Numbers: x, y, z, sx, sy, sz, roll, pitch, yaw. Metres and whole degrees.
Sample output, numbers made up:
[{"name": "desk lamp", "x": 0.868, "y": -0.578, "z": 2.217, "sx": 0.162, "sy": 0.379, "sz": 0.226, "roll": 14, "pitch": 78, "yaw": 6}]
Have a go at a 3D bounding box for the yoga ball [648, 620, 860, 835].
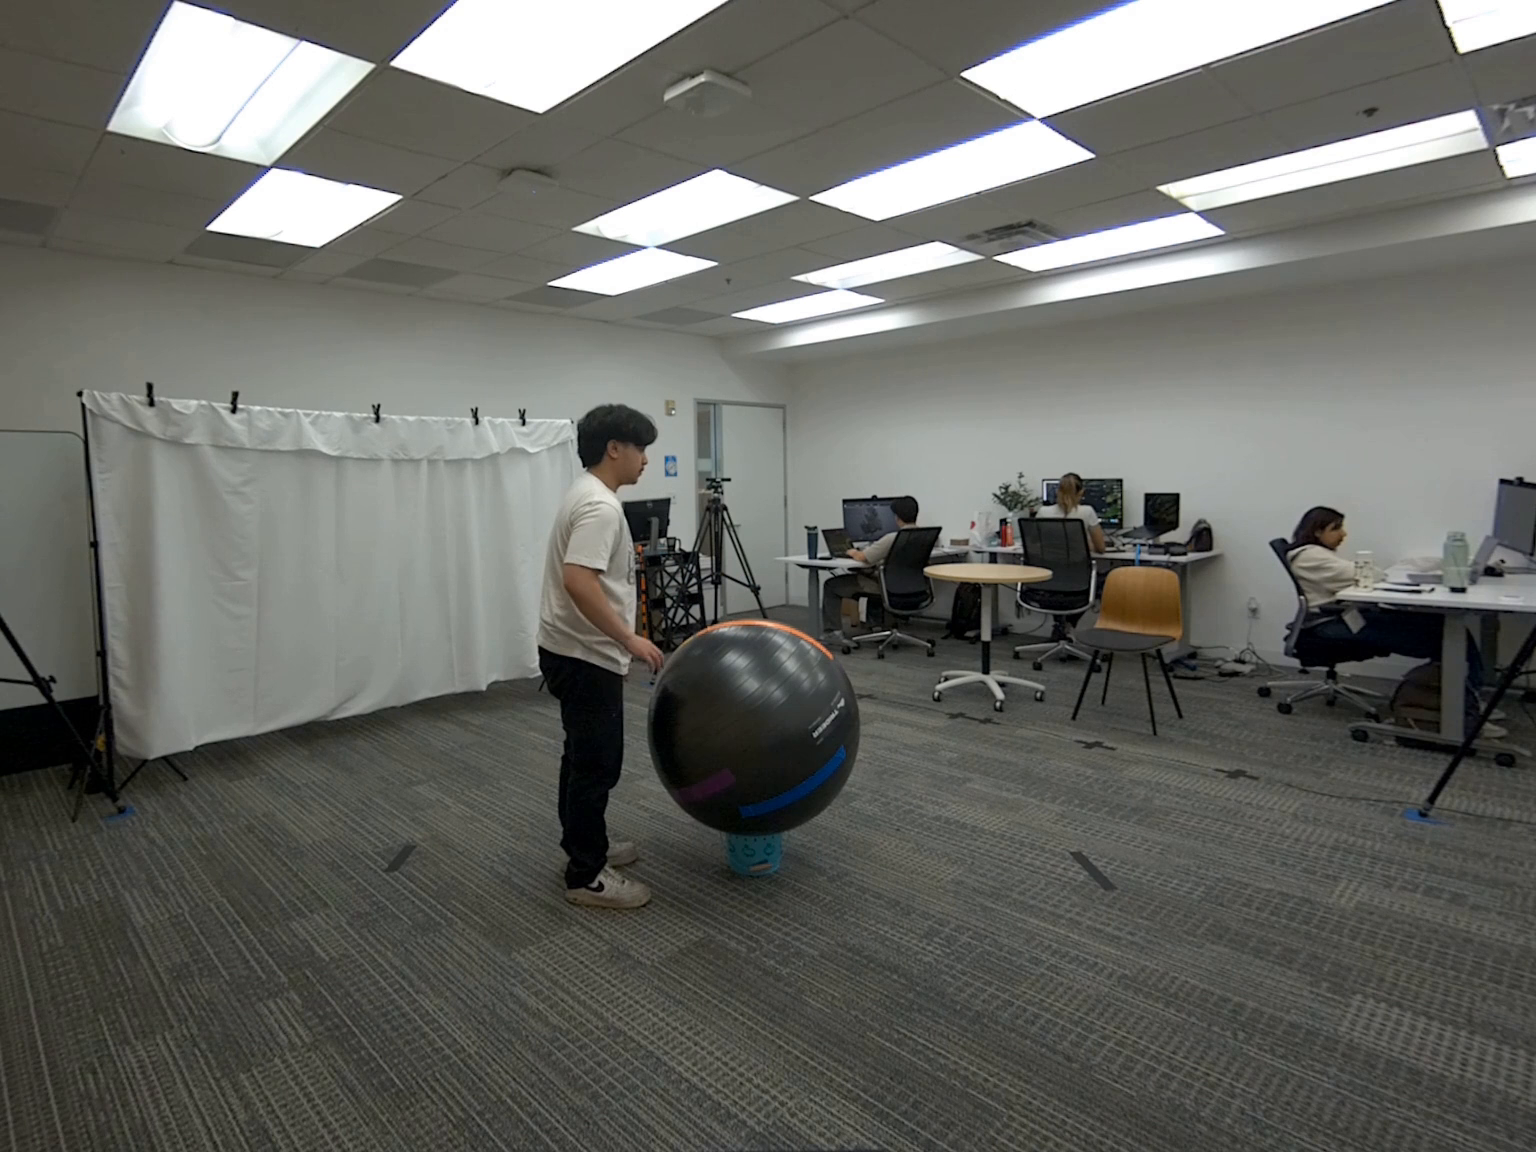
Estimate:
[{"name": "yoga ball", "x": -0.049, "y": 0.539, "z": 3.059, "sx": 0.757, "sy": 0.755, "sz": 0.762, "roll": -1, "pitch": 5, "yaw": -2}]
